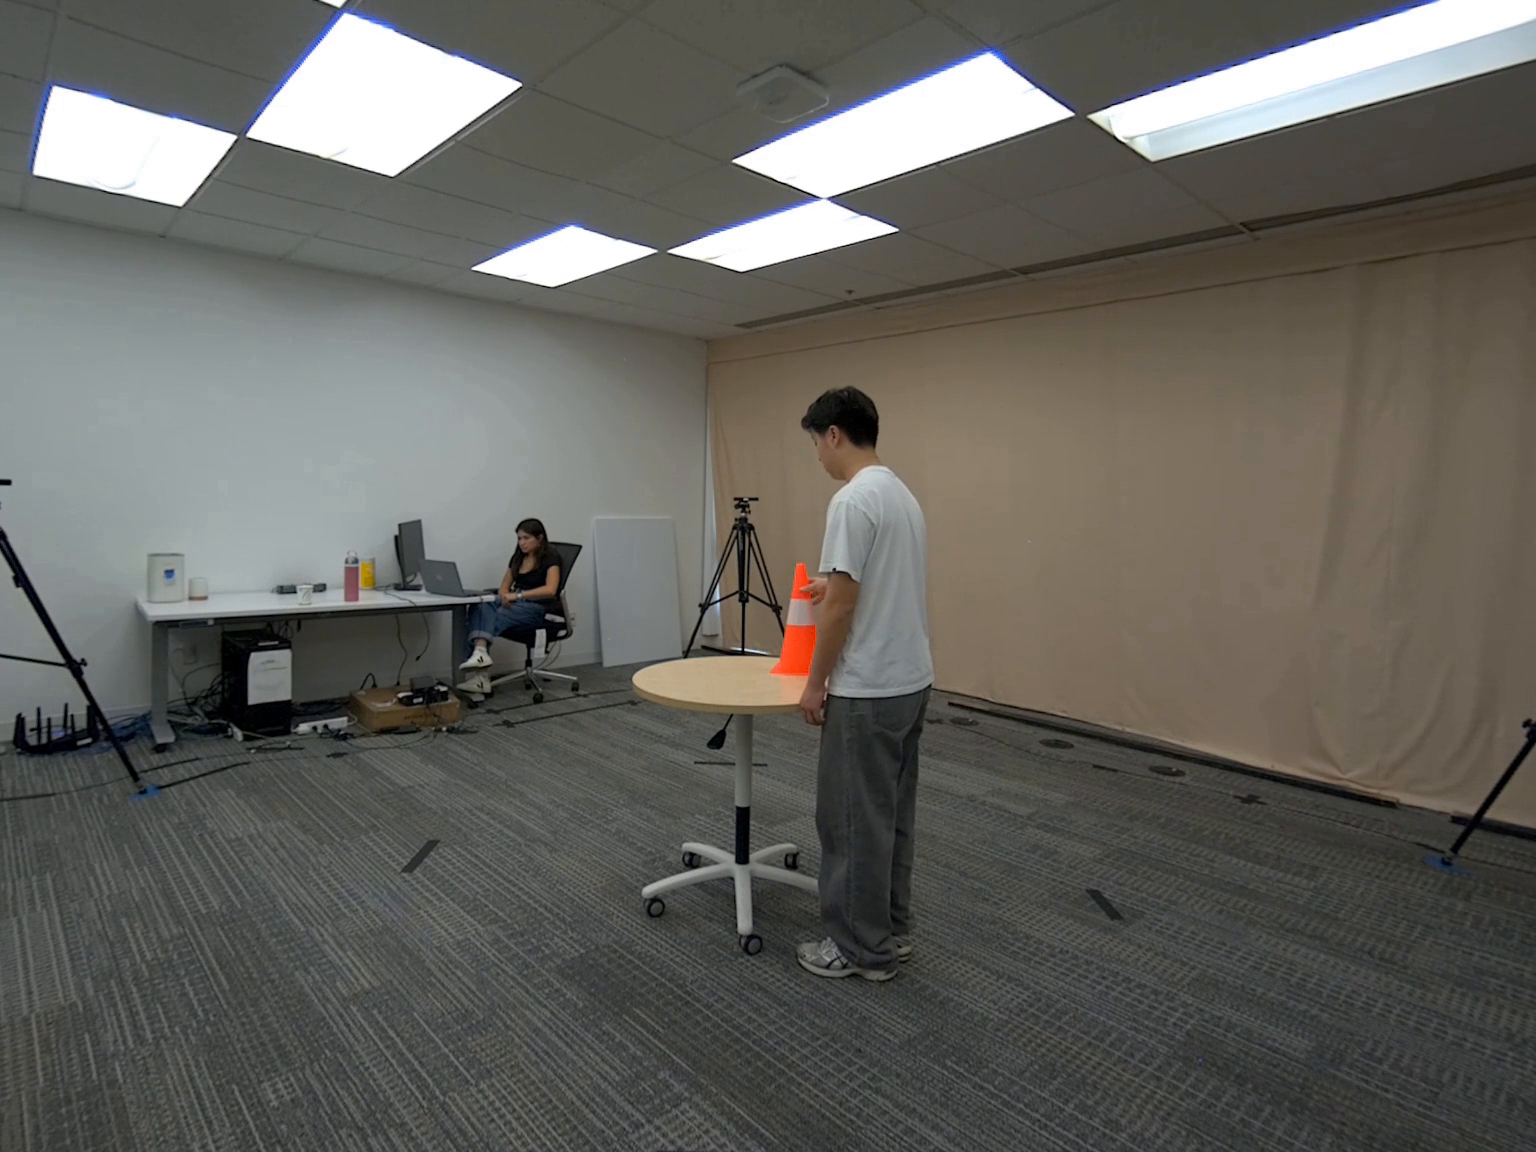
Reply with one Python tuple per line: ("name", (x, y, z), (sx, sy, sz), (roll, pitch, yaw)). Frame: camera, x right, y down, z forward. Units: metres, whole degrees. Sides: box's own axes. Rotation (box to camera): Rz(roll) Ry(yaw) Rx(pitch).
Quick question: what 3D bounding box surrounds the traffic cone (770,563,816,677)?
("traffic cone", (0.114, 0.146, 2.999), (0.206, 0.383, 0.203), (4, 3, 14))
